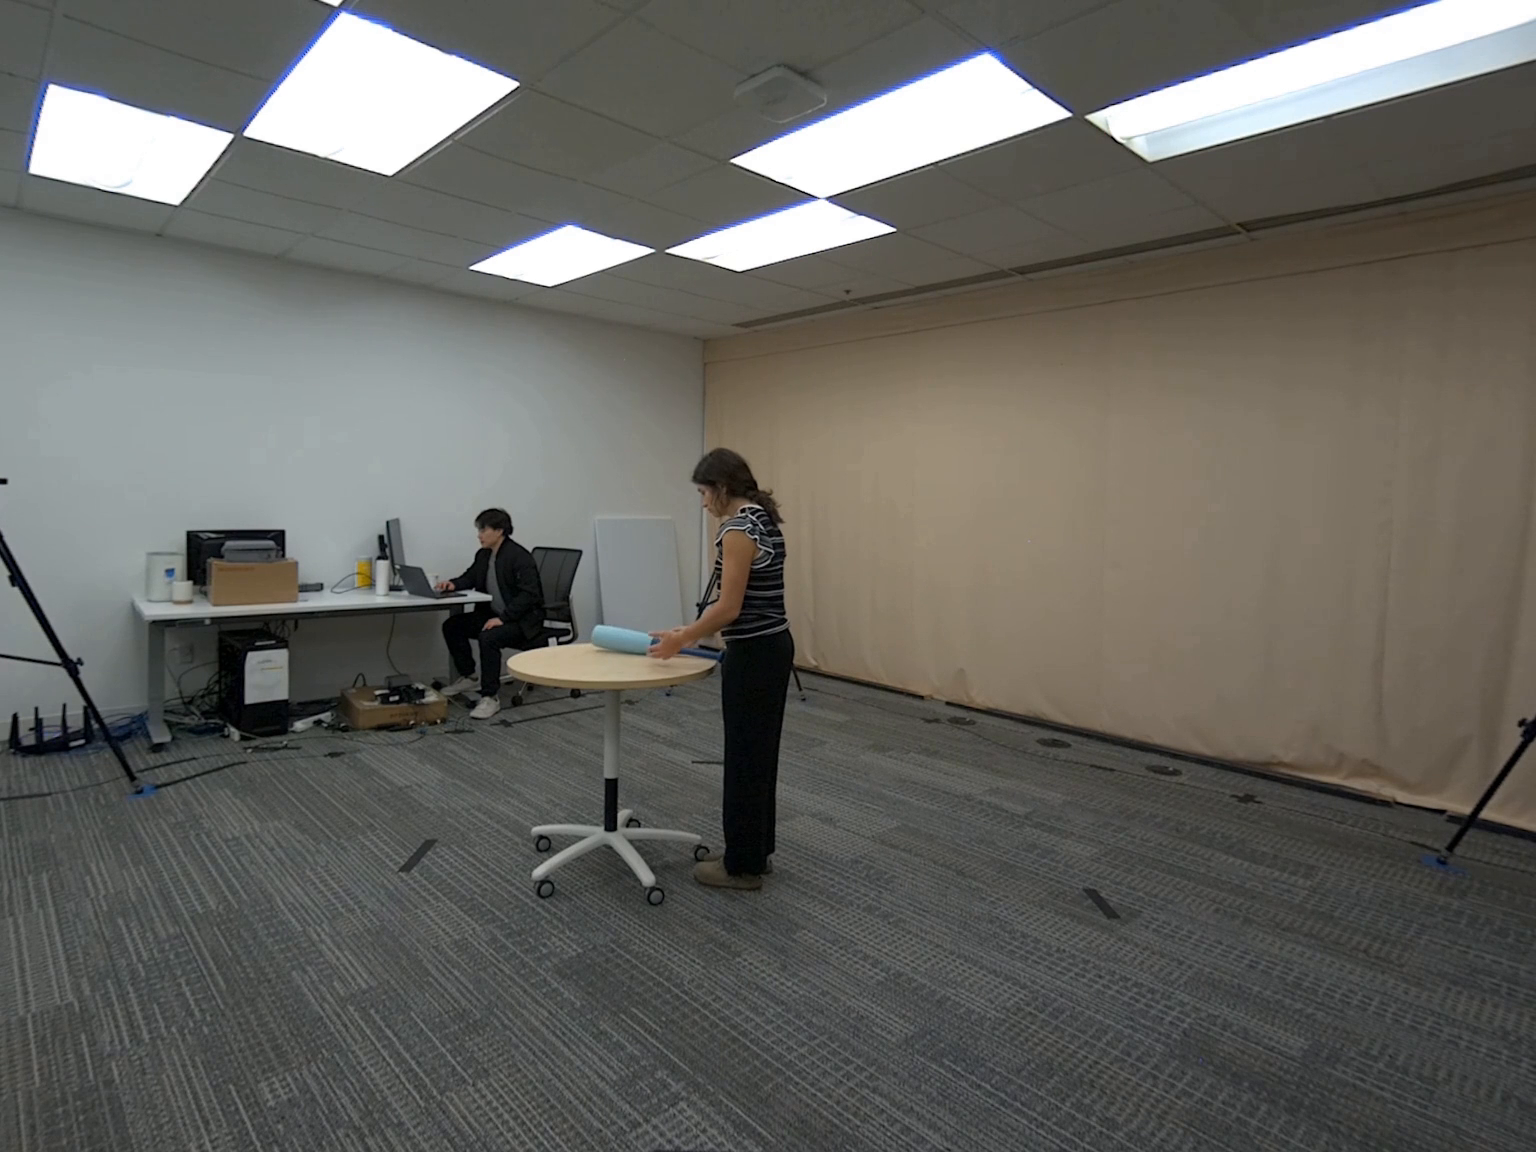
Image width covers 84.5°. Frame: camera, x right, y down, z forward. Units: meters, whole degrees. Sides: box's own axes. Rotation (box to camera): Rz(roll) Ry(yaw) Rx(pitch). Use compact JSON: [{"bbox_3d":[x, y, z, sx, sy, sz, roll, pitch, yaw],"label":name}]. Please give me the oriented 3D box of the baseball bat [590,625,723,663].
[{"bbox_3d":[-0.420,0.271,3.226,0.550,0.089,0.088,8,5,14],"label":"baseball bat"}]
